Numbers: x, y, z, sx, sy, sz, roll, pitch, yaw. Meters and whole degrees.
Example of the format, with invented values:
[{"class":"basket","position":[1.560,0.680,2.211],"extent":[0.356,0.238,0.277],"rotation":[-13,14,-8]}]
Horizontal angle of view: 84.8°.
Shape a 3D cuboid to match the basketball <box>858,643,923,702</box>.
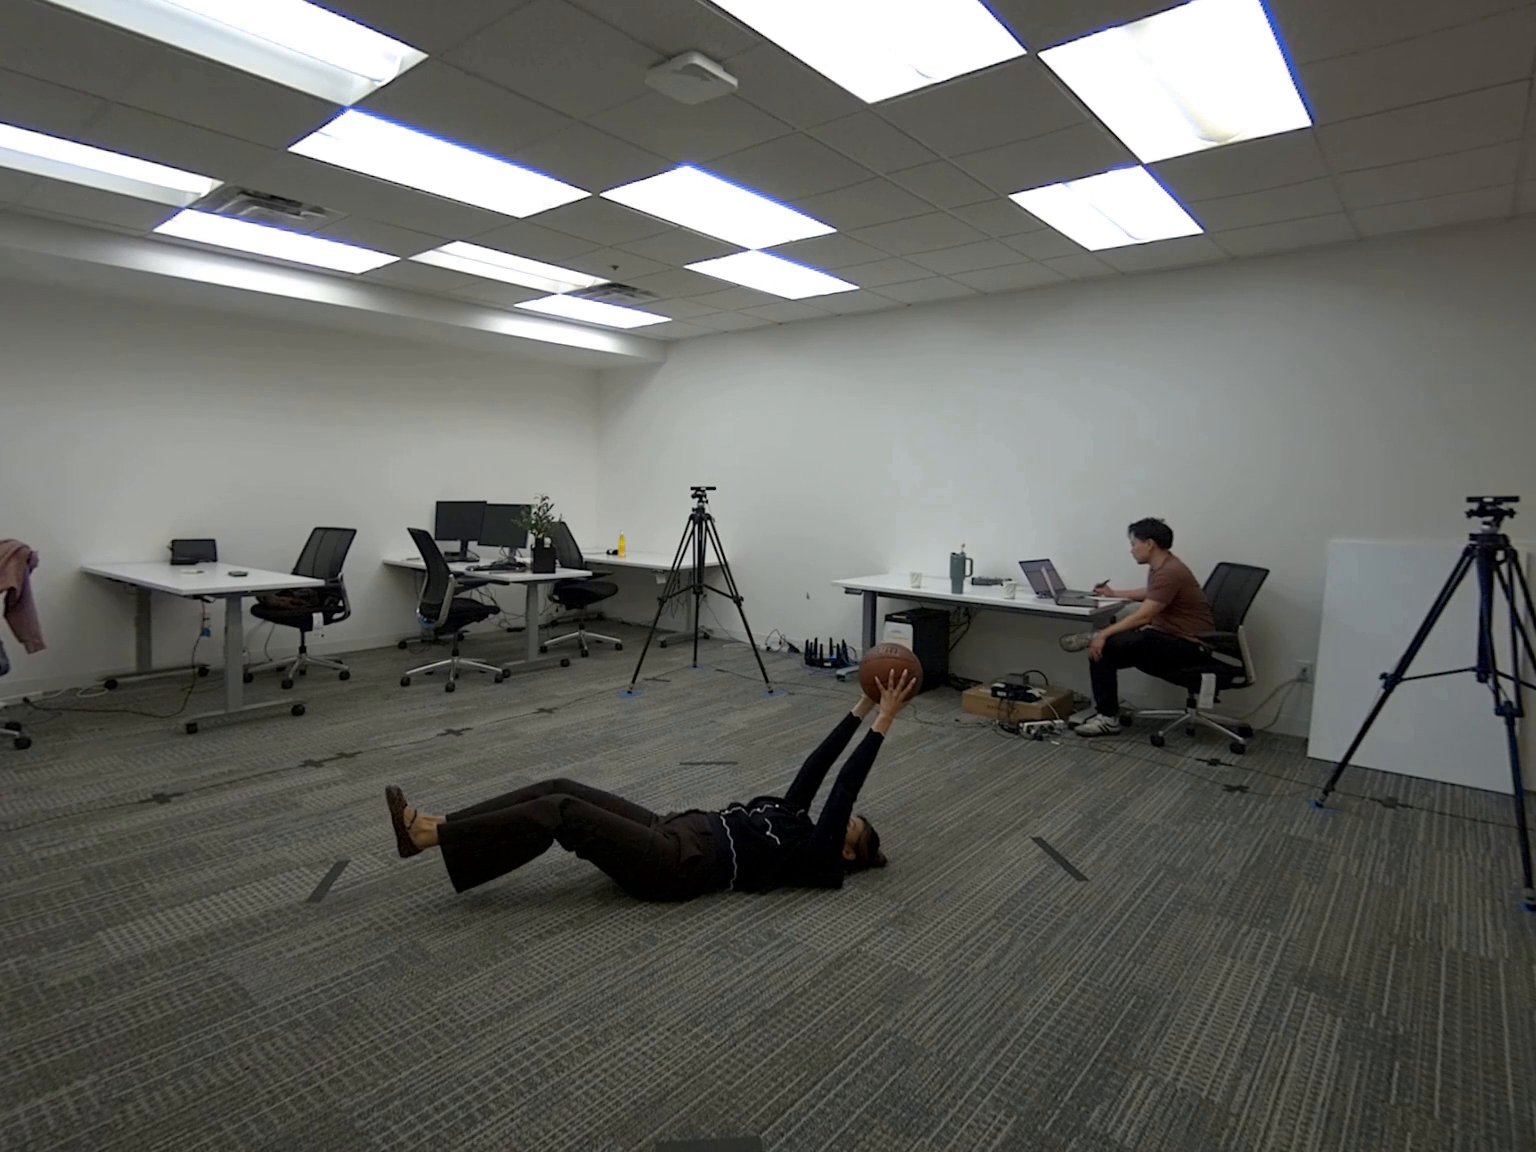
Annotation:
[{"class":"basketball","position":[0.446,0.365,3.192],"extent":[0.236,0.235,0.237],"rotation":[1,4,-2]}]
